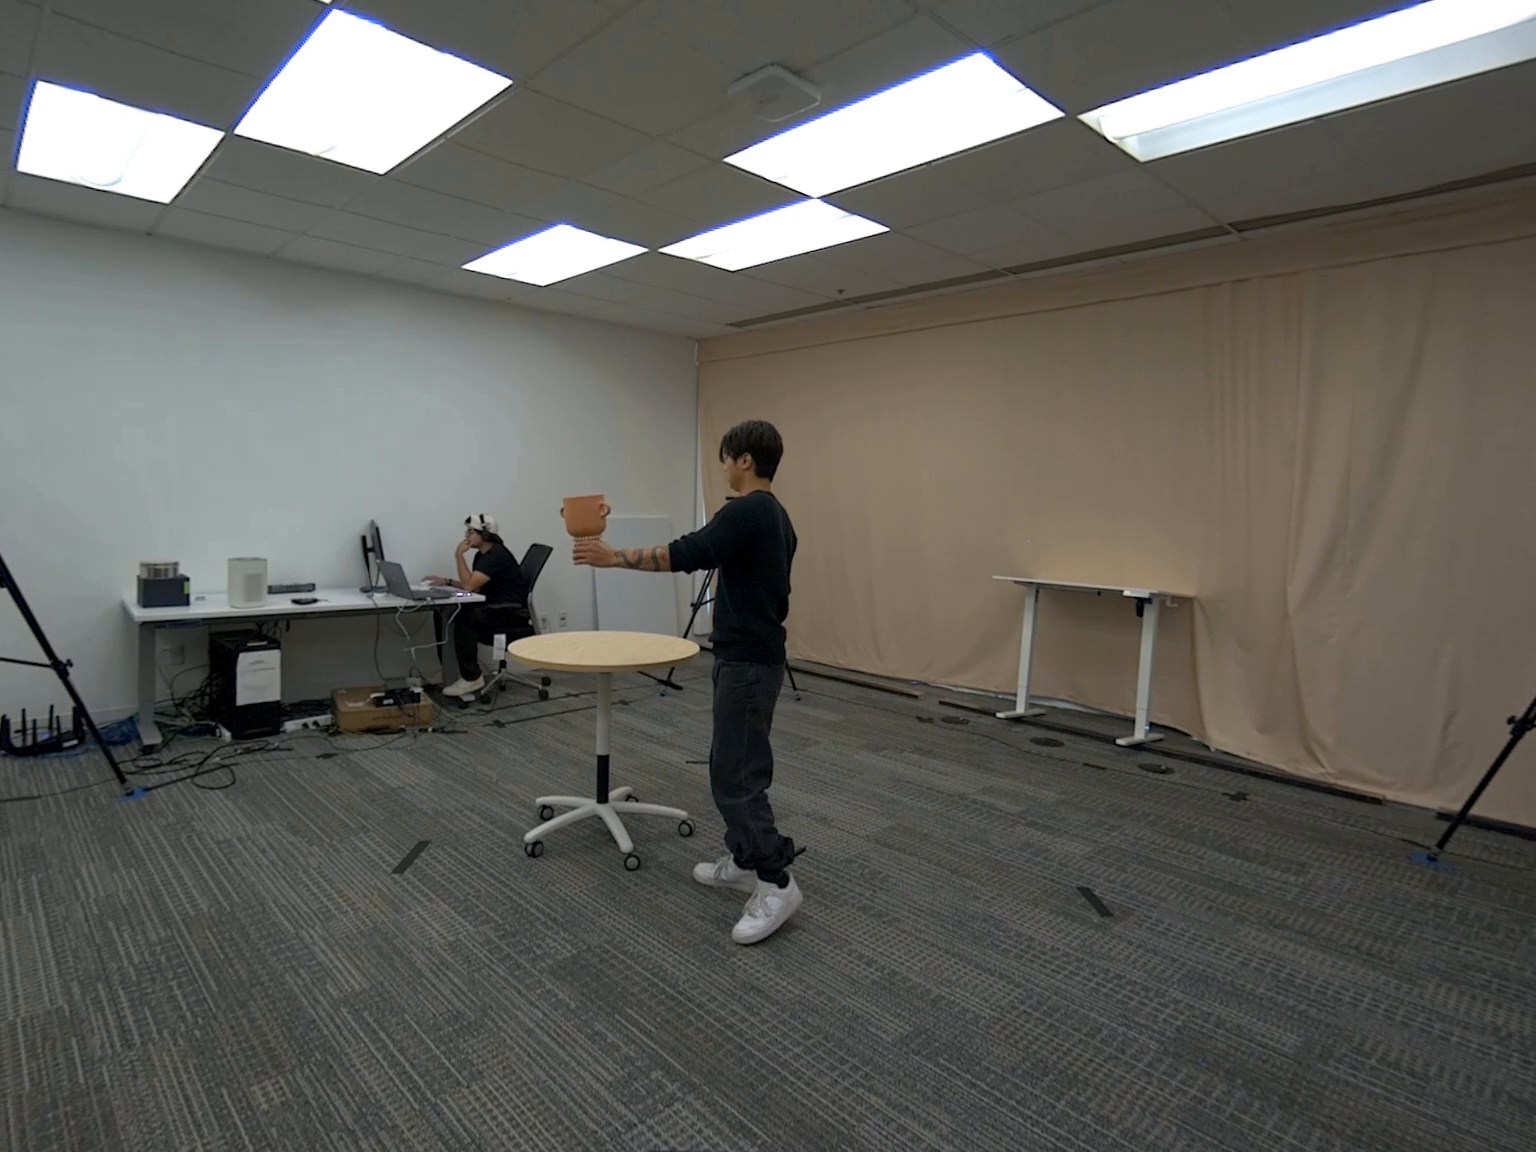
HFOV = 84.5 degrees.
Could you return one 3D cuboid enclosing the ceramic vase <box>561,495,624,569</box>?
[{"bbox_3d":[-0.595,-0.147,2.745,0.132,0.219,0.162,-8,5,-24],"label":"ceramic vase"}]
